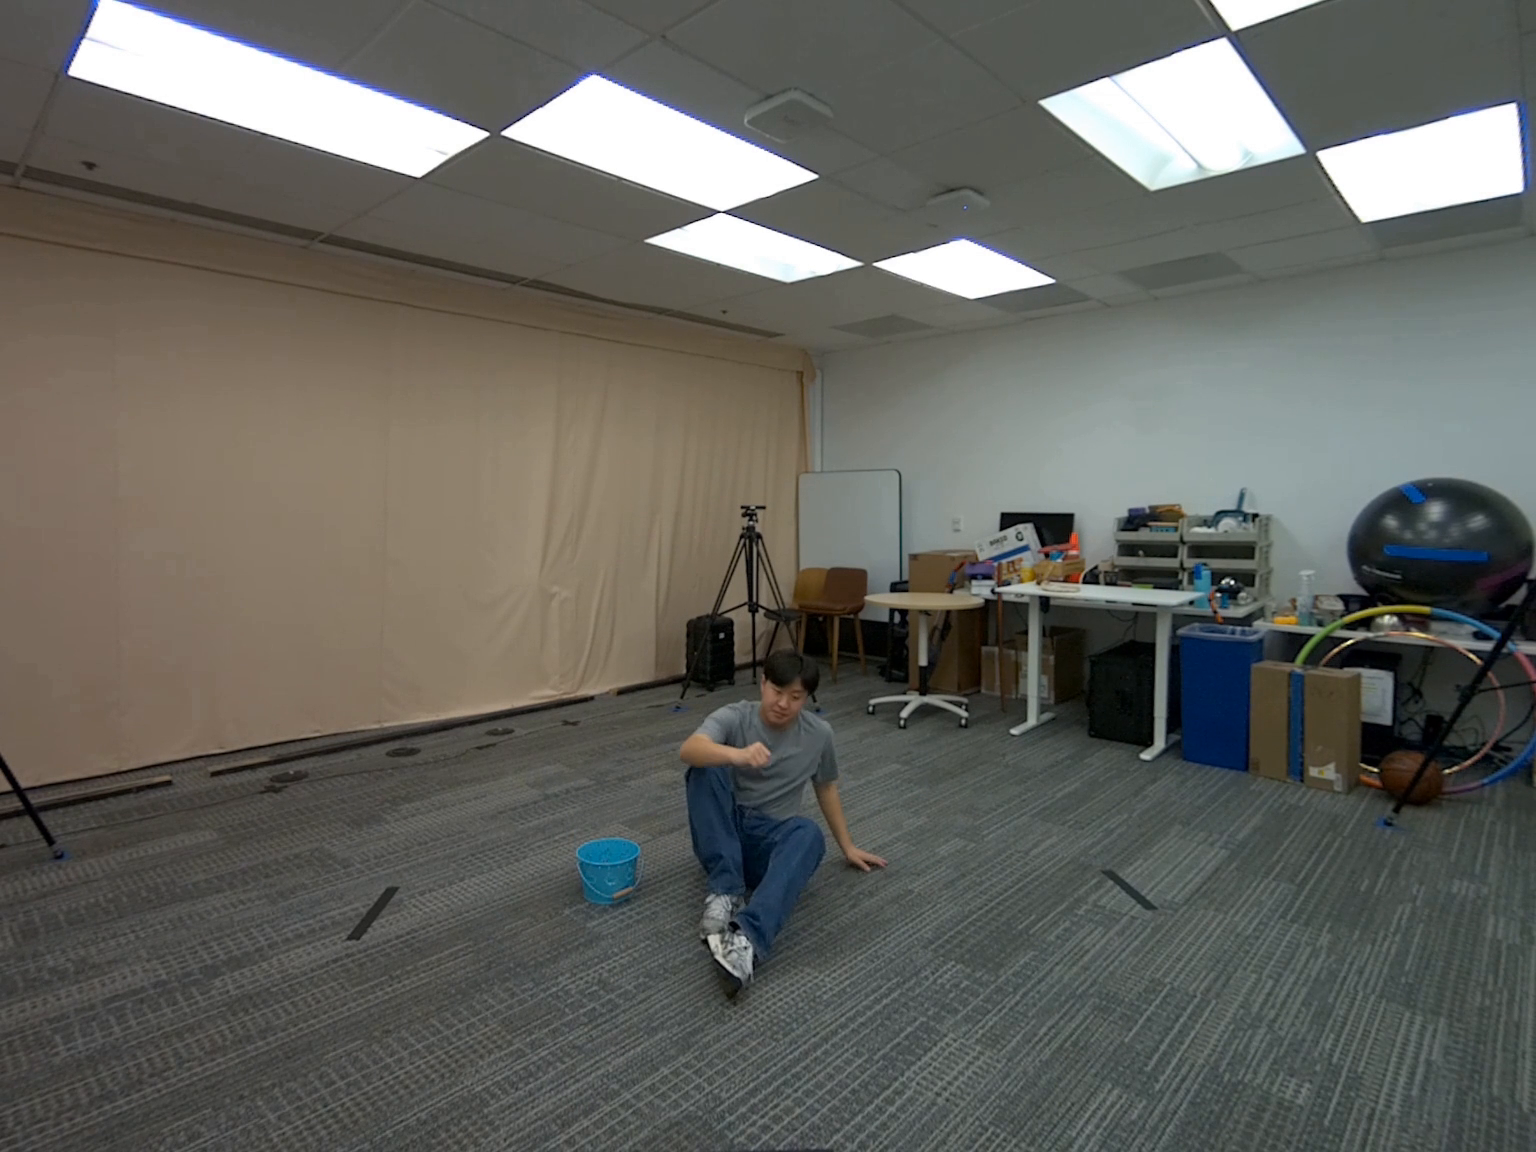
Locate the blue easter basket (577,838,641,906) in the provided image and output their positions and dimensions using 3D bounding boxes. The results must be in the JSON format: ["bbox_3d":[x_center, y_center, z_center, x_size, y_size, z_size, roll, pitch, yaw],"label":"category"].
[{"bbox_3d":[-0.578,1.069,3.035,0.243,0.155,0.244,-1,4,-2],"label":"blue easter basket"}]
